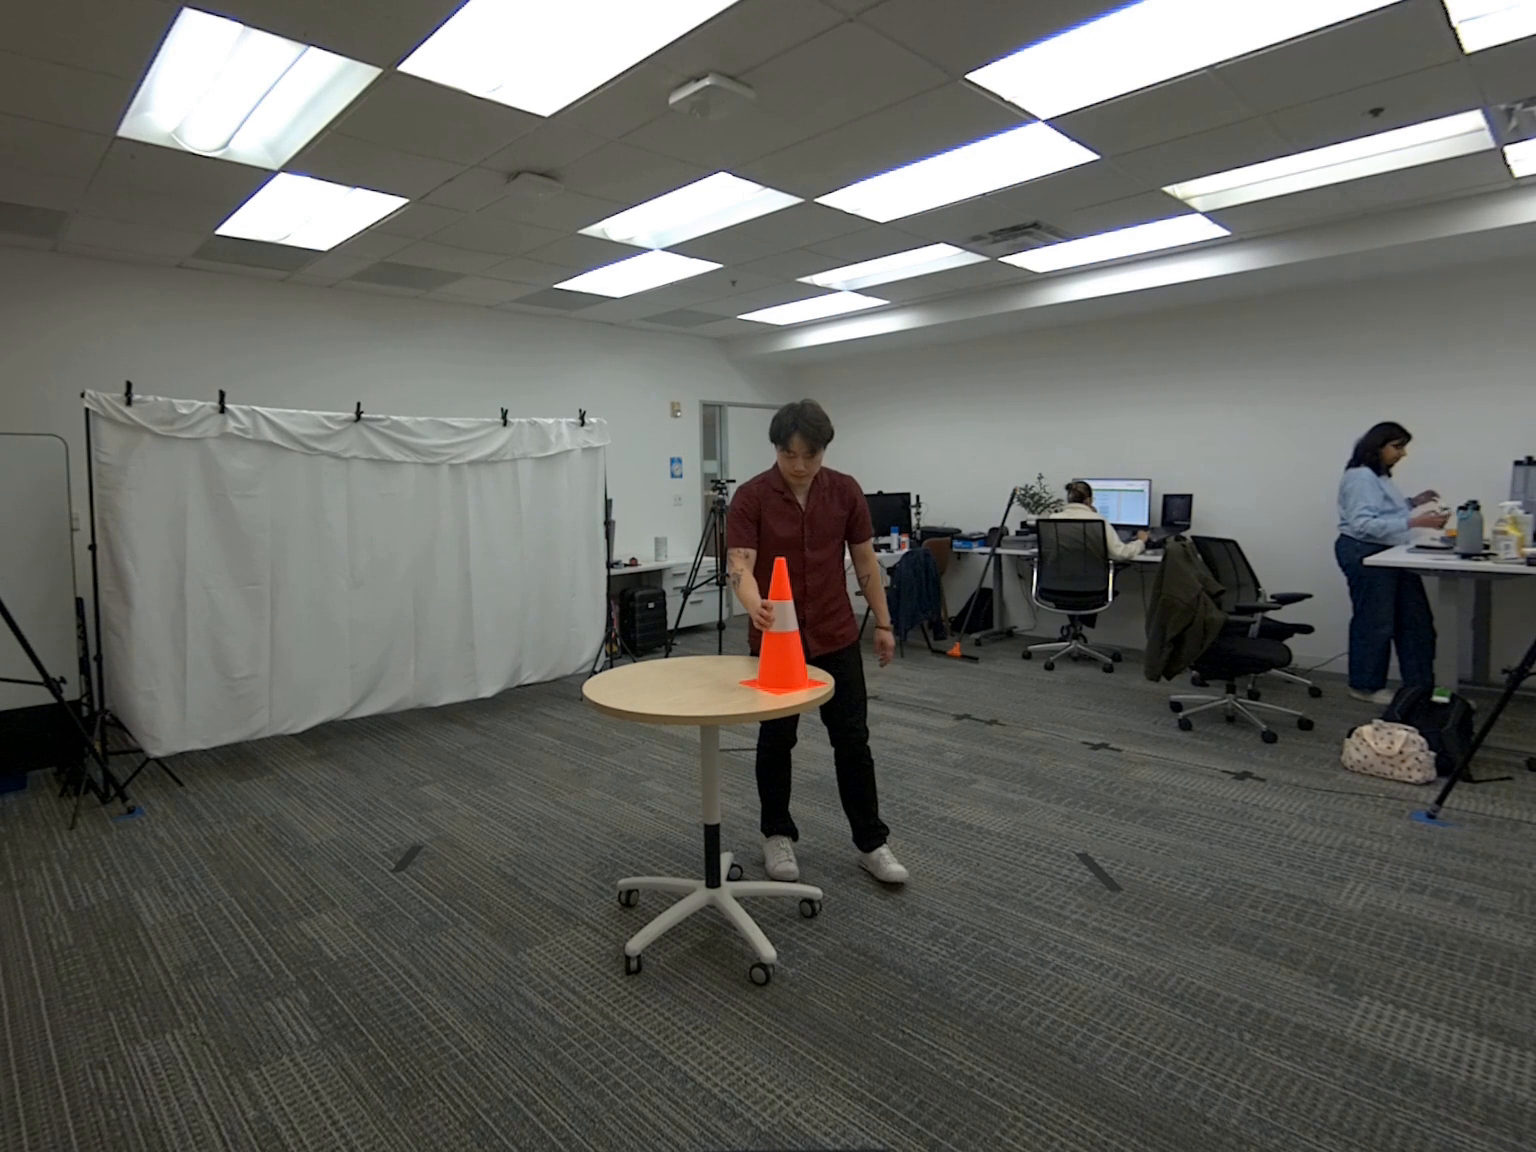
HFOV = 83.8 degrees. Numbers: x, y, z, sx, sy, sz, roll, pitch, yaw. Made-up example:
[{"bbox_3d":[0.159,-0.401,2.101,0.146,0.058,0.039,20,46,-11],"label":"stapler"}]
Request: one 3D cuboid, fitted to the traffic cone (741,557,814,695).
[{"bbox_3d":[0.038,0.141,2.551,0.211,0.383,0.198,1,3,40],"label":"traffic cone"}]
